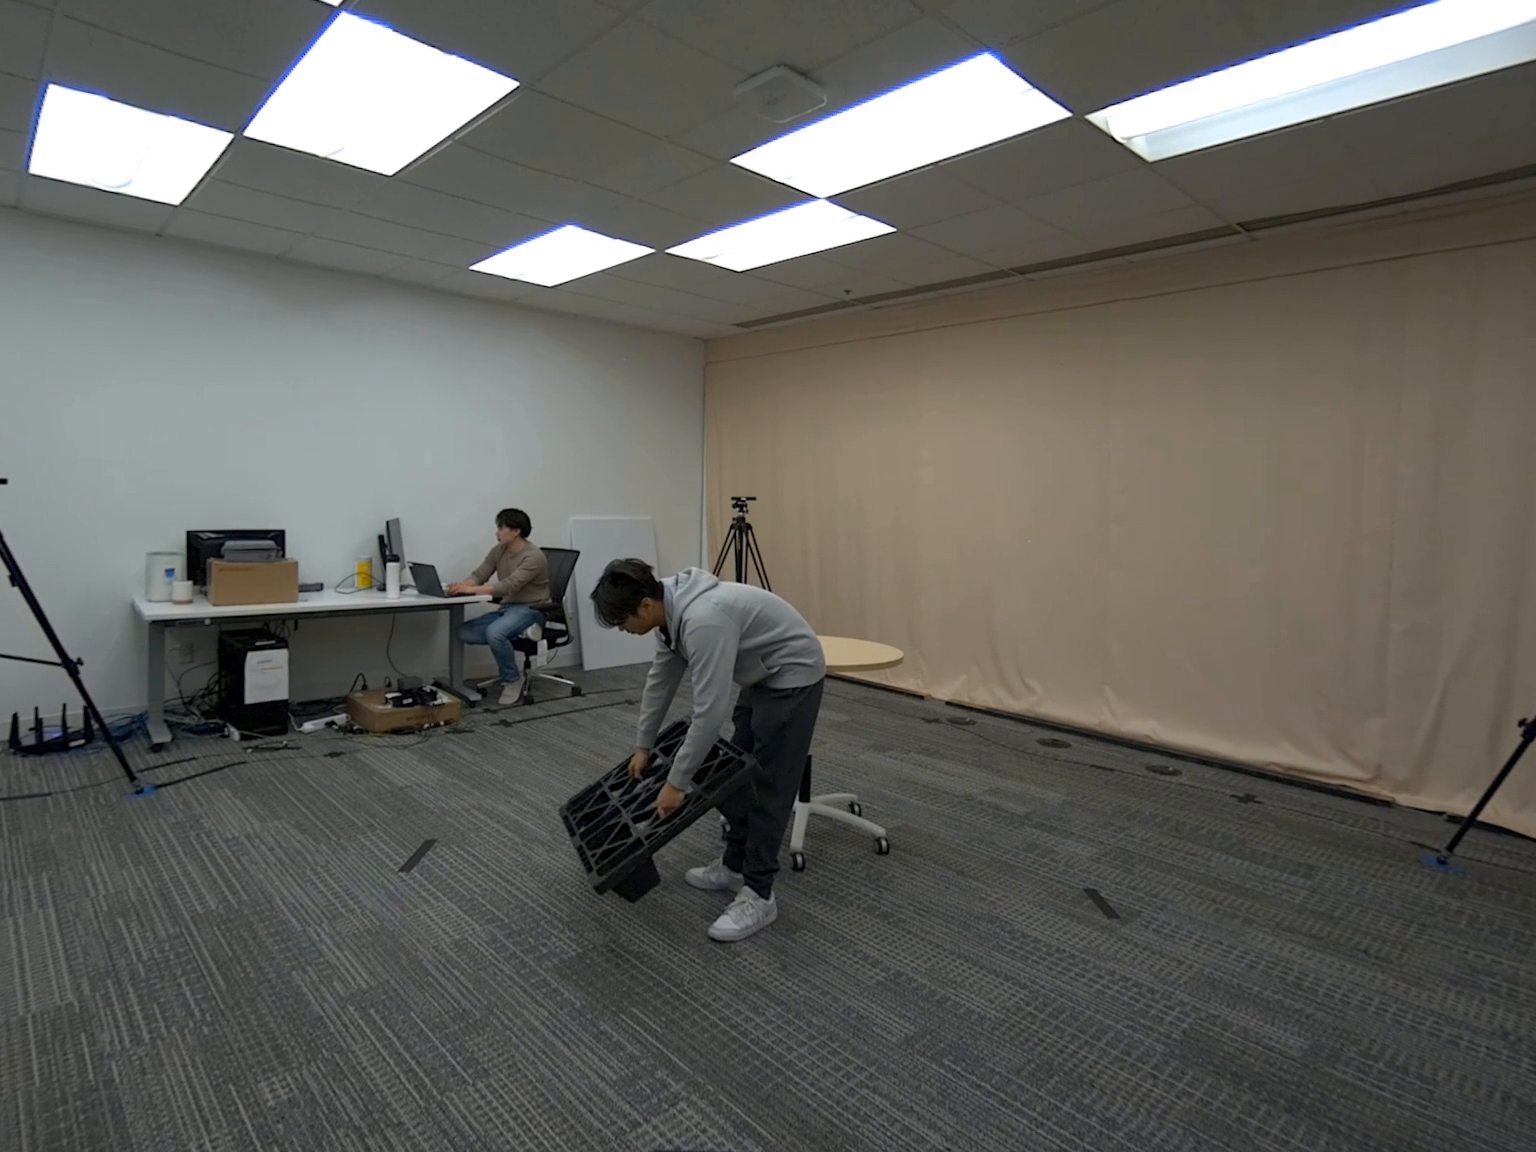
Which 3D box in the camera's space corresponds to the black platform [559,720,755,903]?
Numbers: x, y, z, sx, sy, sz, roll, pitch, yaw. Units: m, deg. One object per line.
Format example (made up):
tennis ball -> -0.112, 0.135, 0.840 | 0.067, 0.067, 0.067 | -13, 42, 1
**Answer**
black platform -> -0.384, 0.775, 2.856 | 0.603, 0.142, 0.817 | -35, 13, -16
